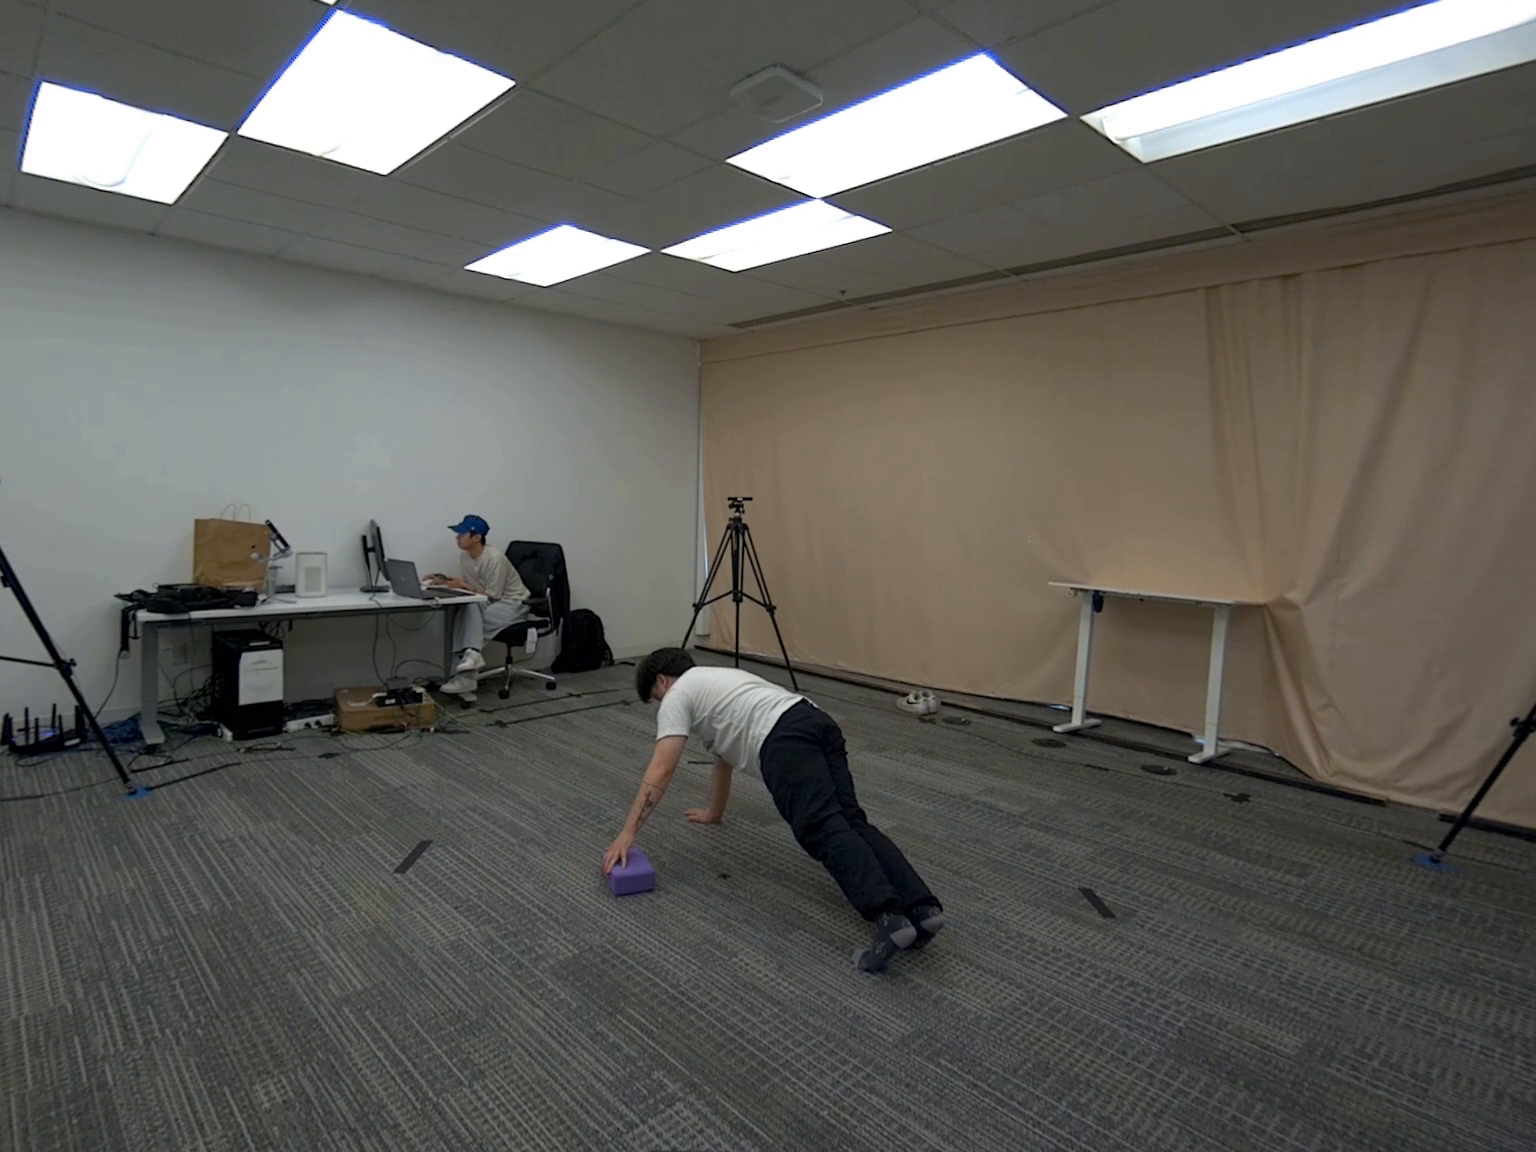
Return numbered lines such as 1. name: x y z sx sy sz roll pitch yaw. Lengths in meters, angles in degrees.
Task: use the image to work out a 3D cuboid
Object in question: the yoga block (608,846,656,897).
1. yoga block: -0.509 1.060 3.052 0.146 0.076 0.233 -1 5 -22
